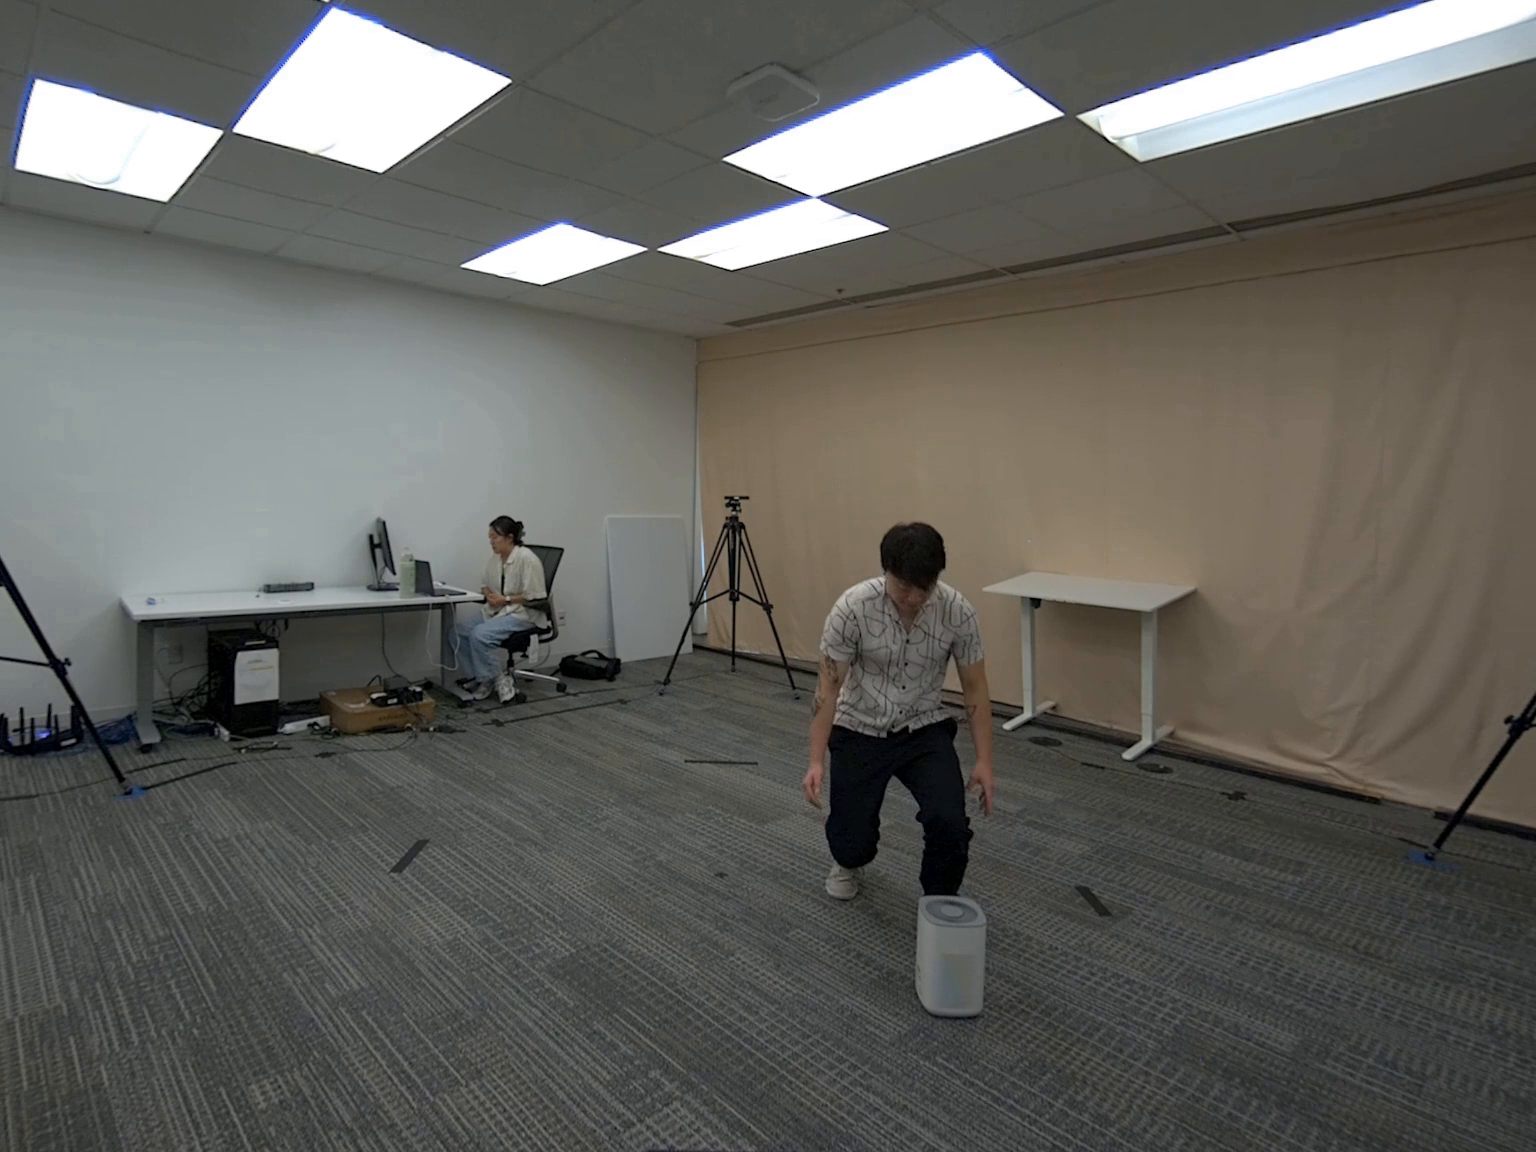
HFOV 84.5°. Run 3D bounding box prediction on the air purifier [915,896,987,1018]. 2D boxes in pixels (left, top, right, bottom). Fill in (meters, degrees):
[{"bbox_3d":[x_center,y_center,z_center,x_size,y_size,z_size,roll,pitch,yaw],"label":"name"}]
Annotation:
[{"bbox_3d":[0.502,1.057,2.339,0.171,0.264,0.172,0,4,-2],"label":"air purifier"}]
